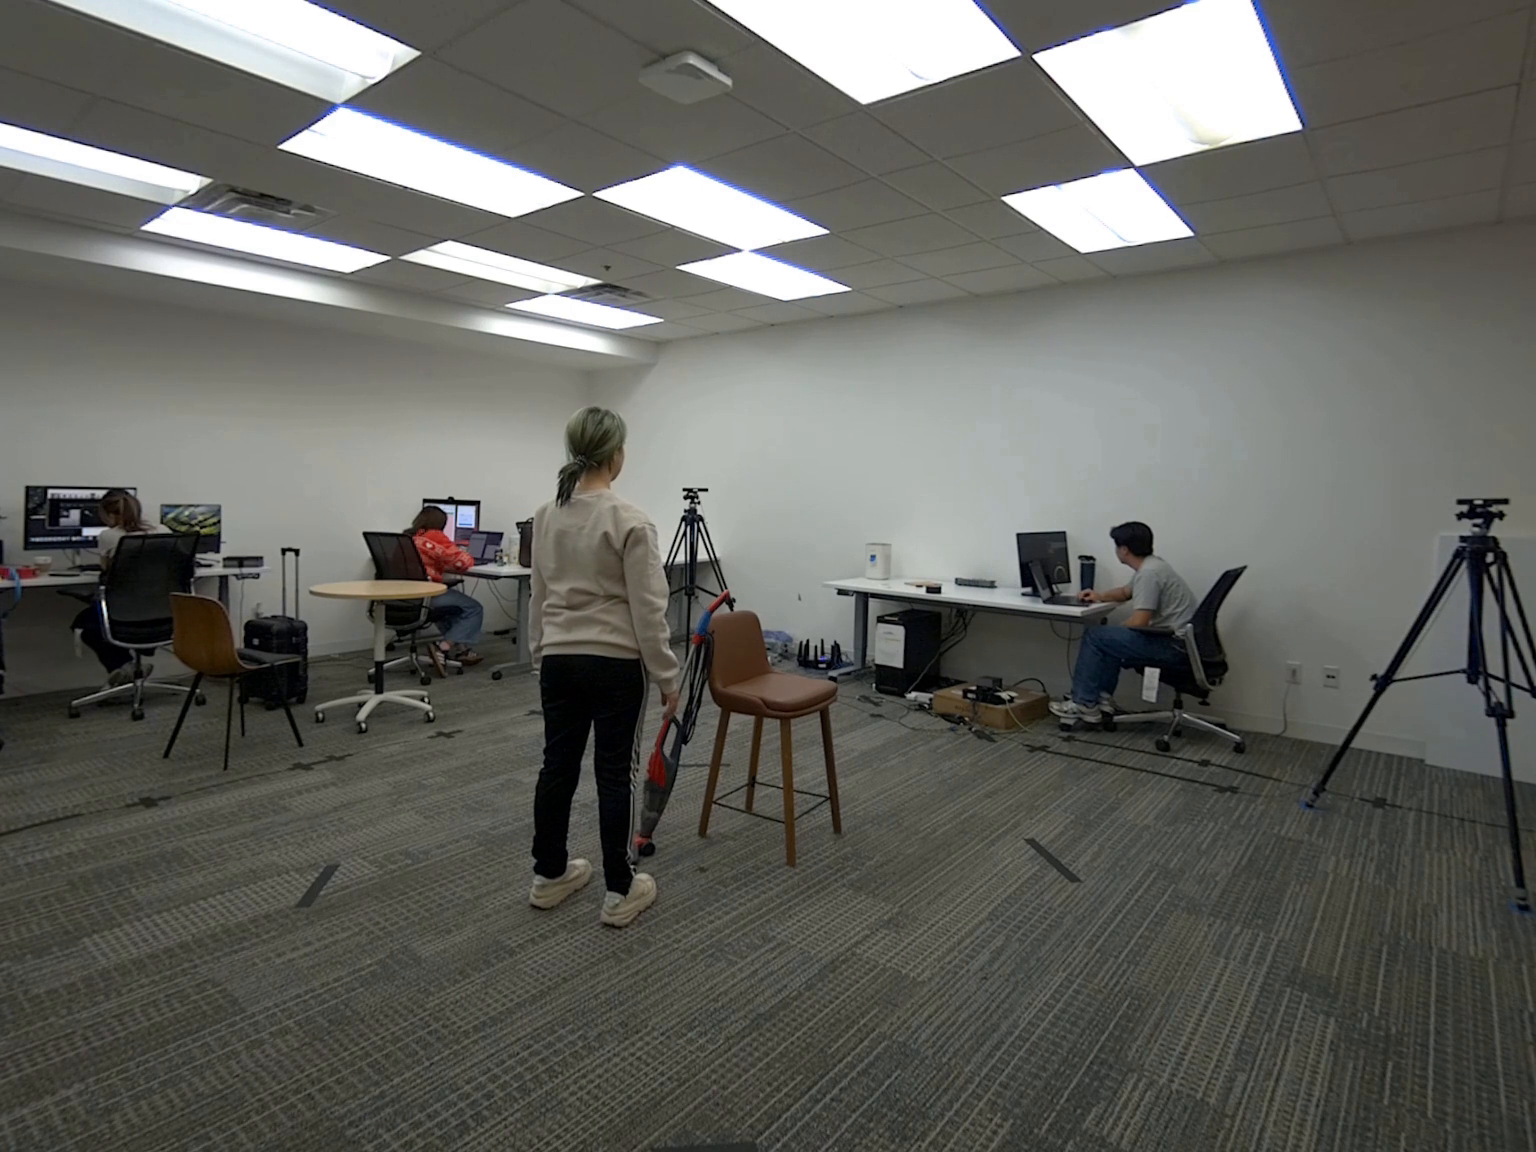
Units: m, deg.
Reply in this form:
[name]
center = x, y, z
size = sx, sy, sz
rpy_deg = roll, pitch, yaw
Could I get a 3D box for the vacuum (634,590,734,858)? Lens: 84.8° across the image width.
[vacuum]
center = -0.363, 0.555, 3.294
size = 0.139, 1.052, 0.260
rpy_deg = 21, -5, -28
